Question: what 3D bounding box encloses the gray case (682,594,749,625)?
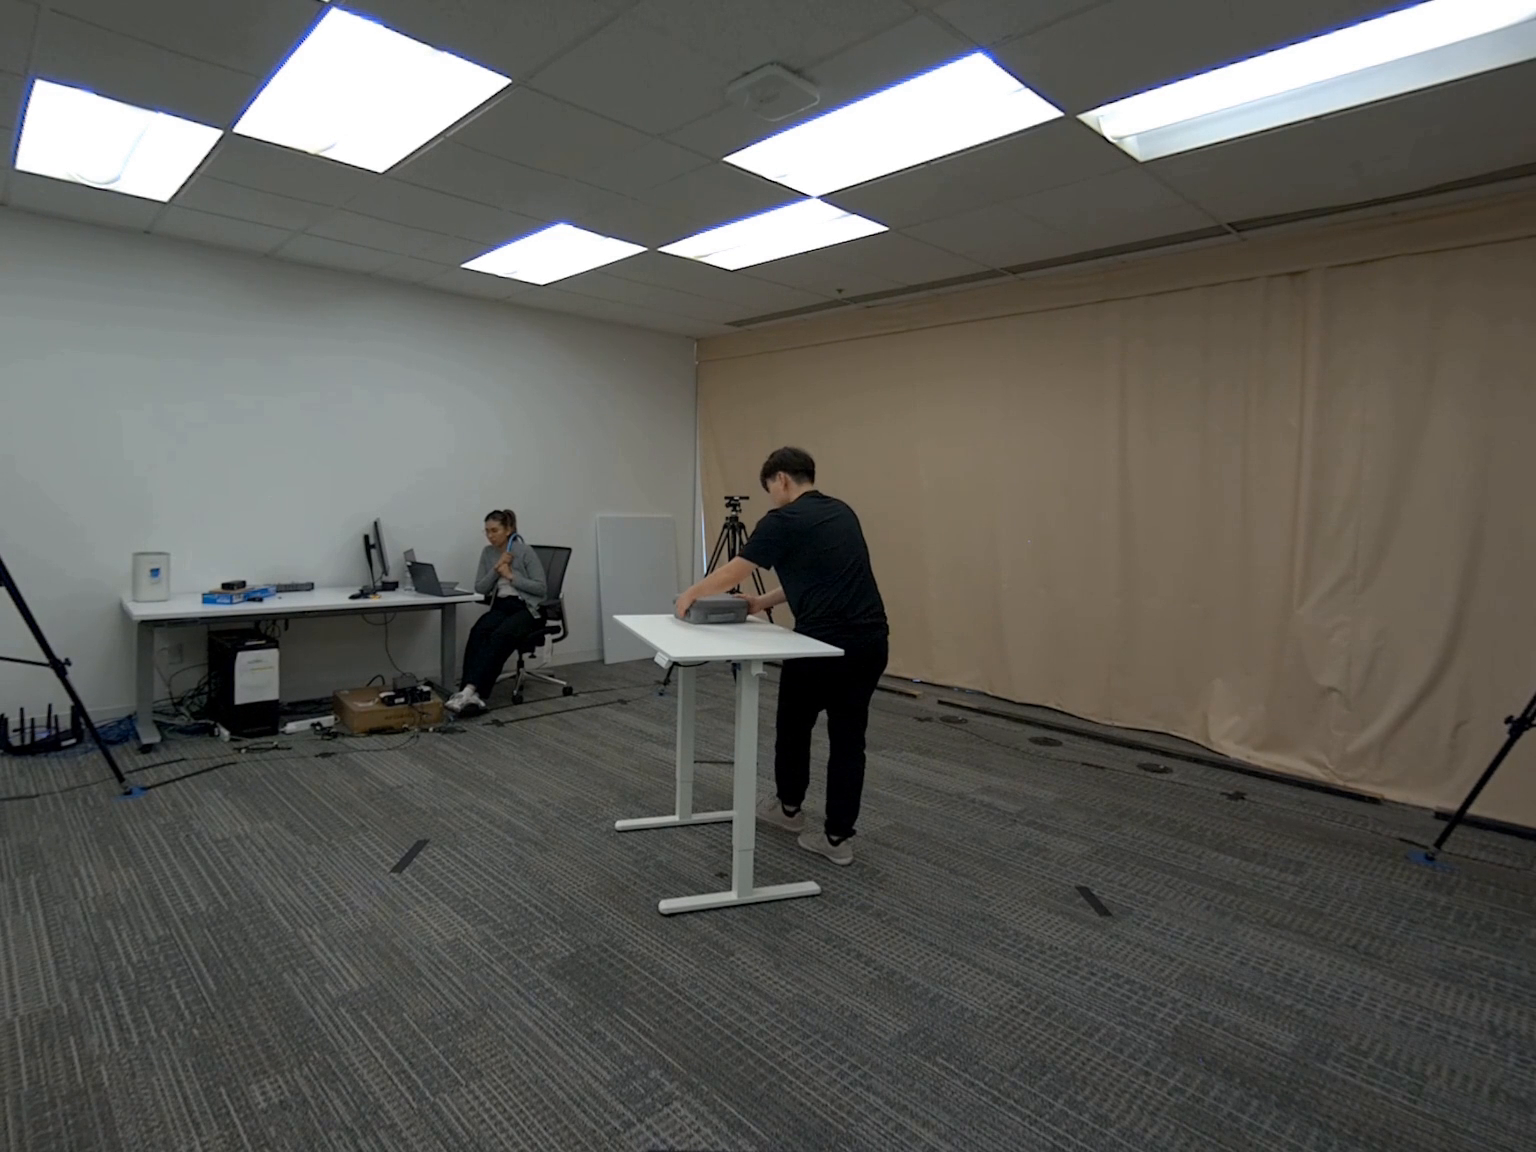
[{"bbox_3d":[-0.241,0.133,3.516,0.253,0.104,0.266,1,7,-21],"label":"gray case"}]
